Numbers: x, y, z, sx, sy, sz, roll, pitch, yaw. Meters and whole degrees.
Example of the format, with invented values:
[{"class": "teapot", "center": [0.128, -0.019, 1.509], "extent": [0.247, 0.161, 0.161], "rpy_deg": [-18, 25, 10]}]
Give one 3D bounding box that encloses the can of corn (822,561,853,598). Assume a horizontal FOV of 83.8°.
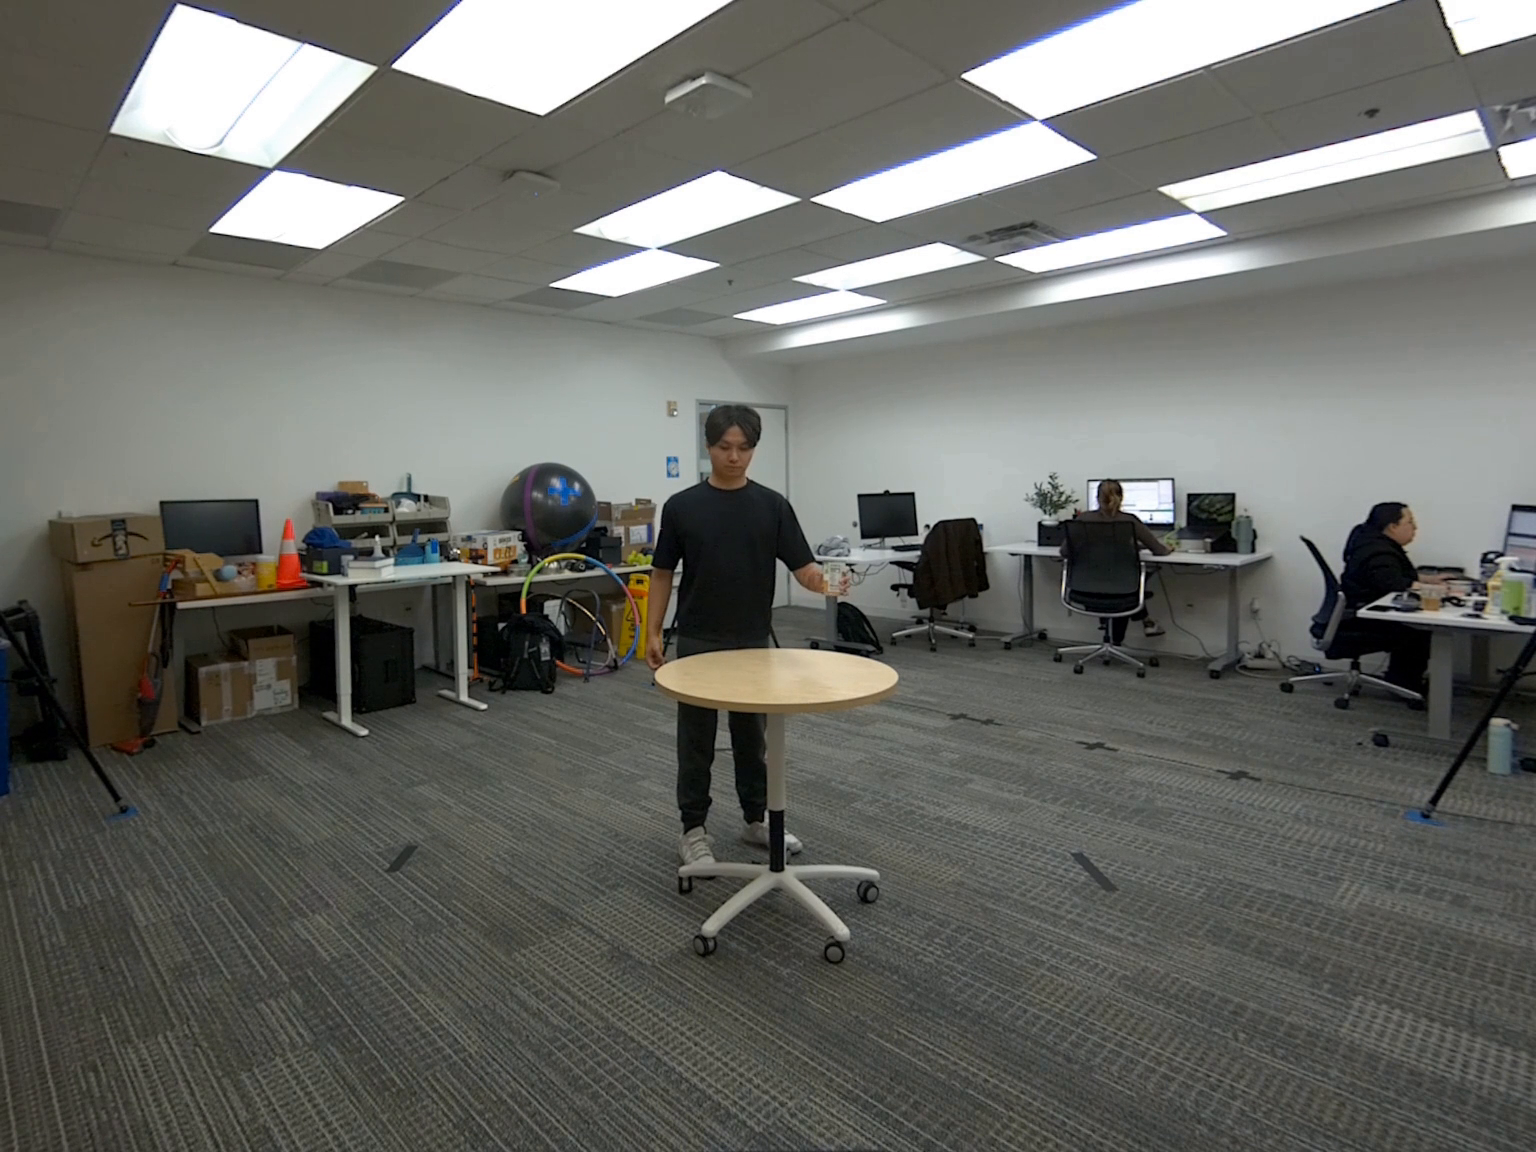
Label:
[{"class": "can of corn", "center": [0.202, 0.006, 2.801], "extent": [0.074, 0.111, 0.074], "rpy_deg": [5, -3, -1]}]
